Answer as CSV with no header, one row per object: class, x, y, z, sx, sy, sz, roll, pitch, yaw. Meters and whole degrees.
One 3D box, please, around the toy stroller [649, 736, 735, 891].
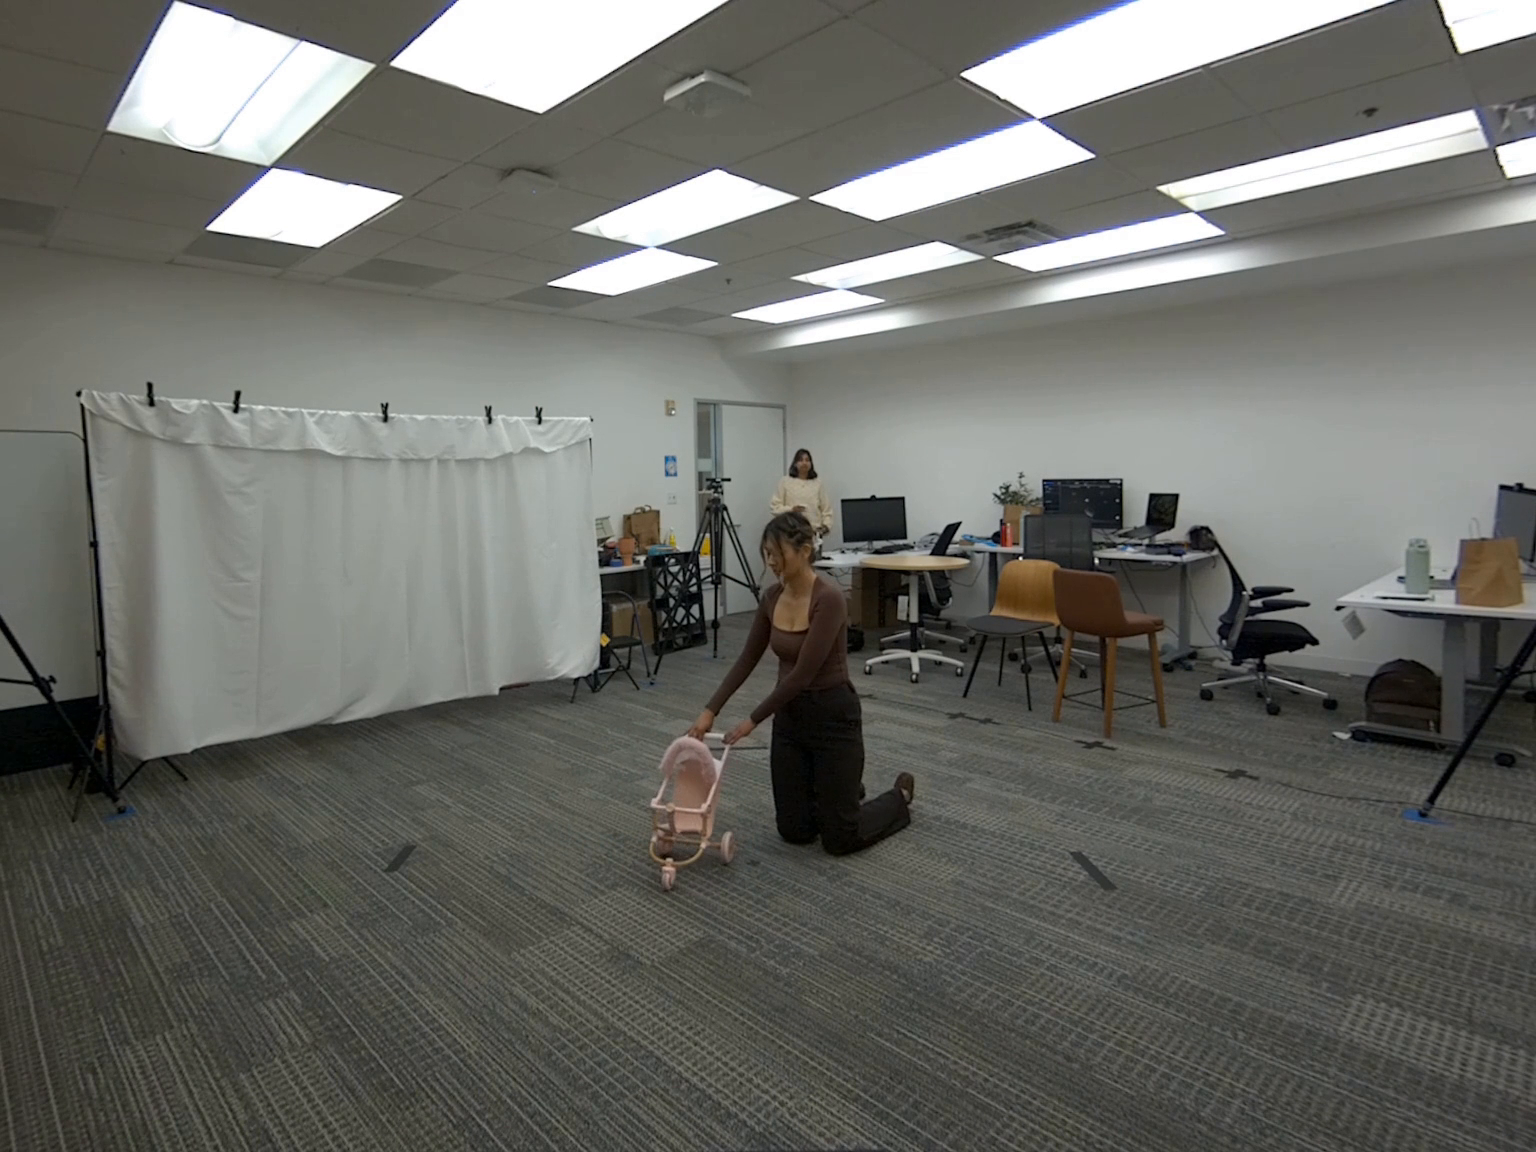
toy stroller,-0.287,0.826,3.084,0.287,0.540,0.331,-1,-13,23
